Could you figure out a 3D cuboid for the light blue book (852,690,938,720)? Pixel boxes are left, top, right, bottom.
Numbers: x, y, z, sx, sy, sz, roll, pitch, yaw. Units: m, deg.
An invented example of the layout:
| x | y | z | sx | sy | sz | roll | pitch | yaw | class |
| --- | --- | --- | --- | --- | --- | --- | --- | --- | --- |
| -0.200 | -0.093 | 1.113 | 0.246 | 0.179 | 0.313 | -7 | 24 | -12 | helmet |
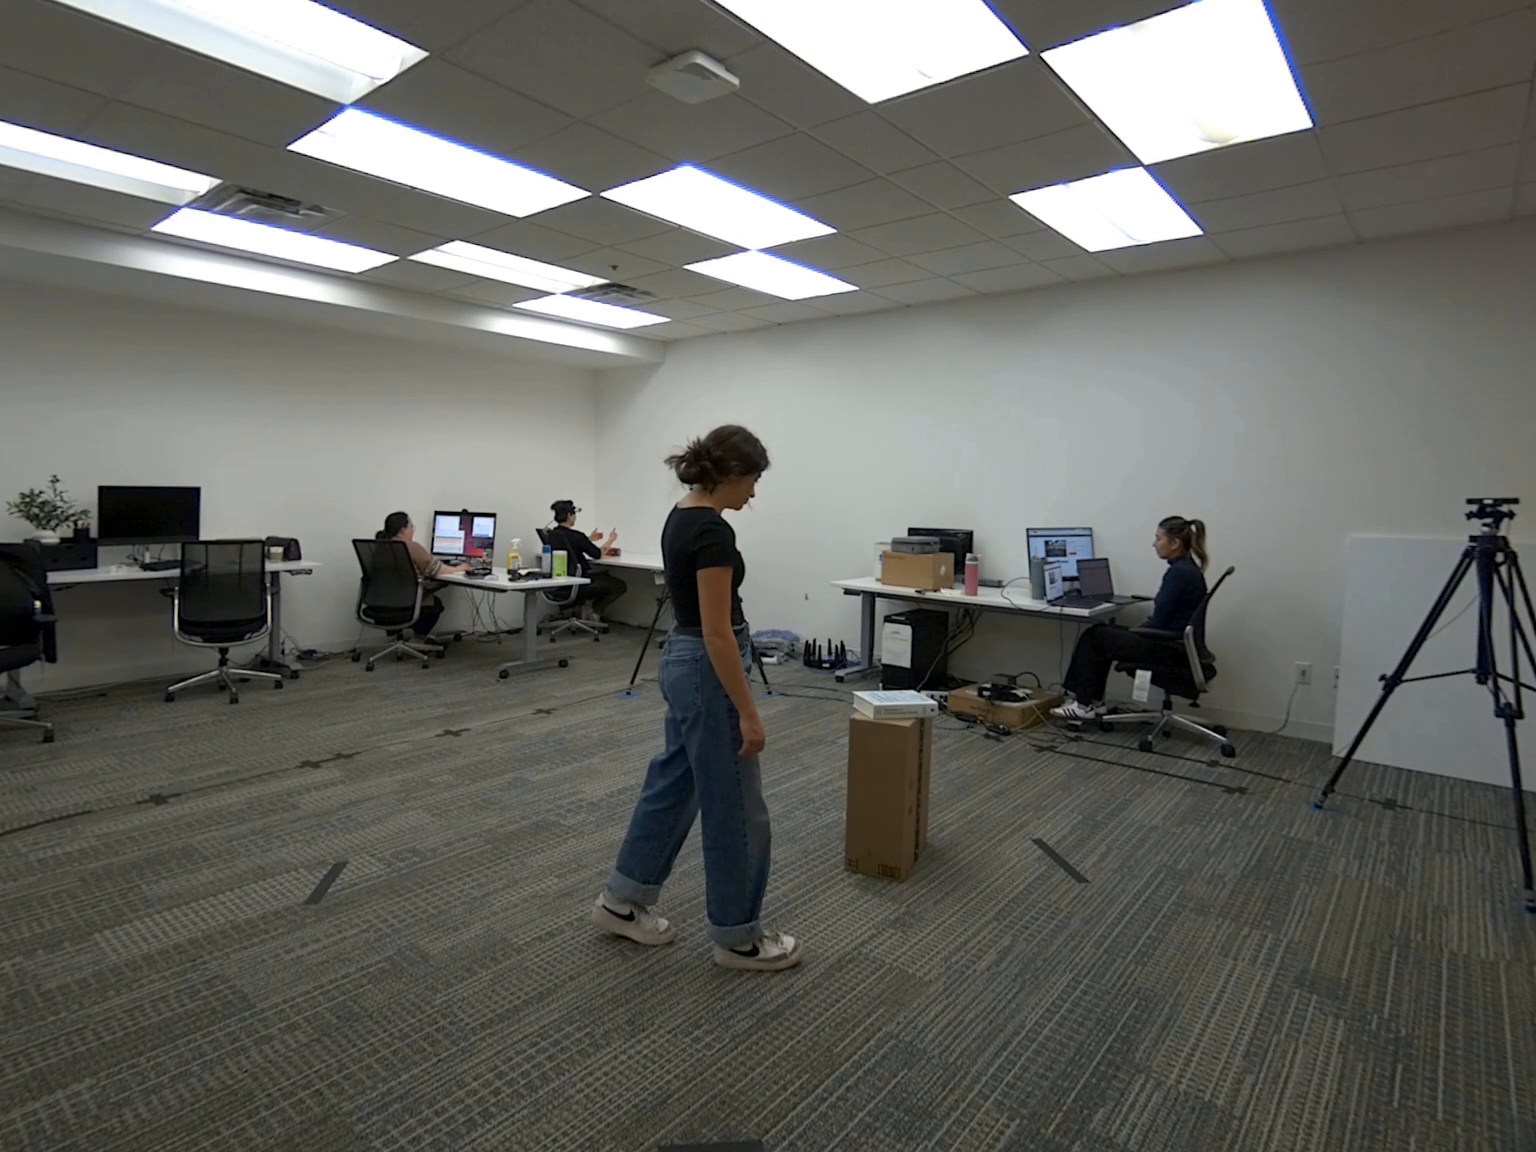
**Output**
| x | y | z | sx | sy | sz | roll | pitch | yaw | class |
| --- | --- | --- | --- | --- | --- | --- | --- | --- | --- |
| 0.476 | 0.481 | 3.198 | 0.256 | 0.059 | 0.195 | 0 | 6 | -17 | light blue book |
